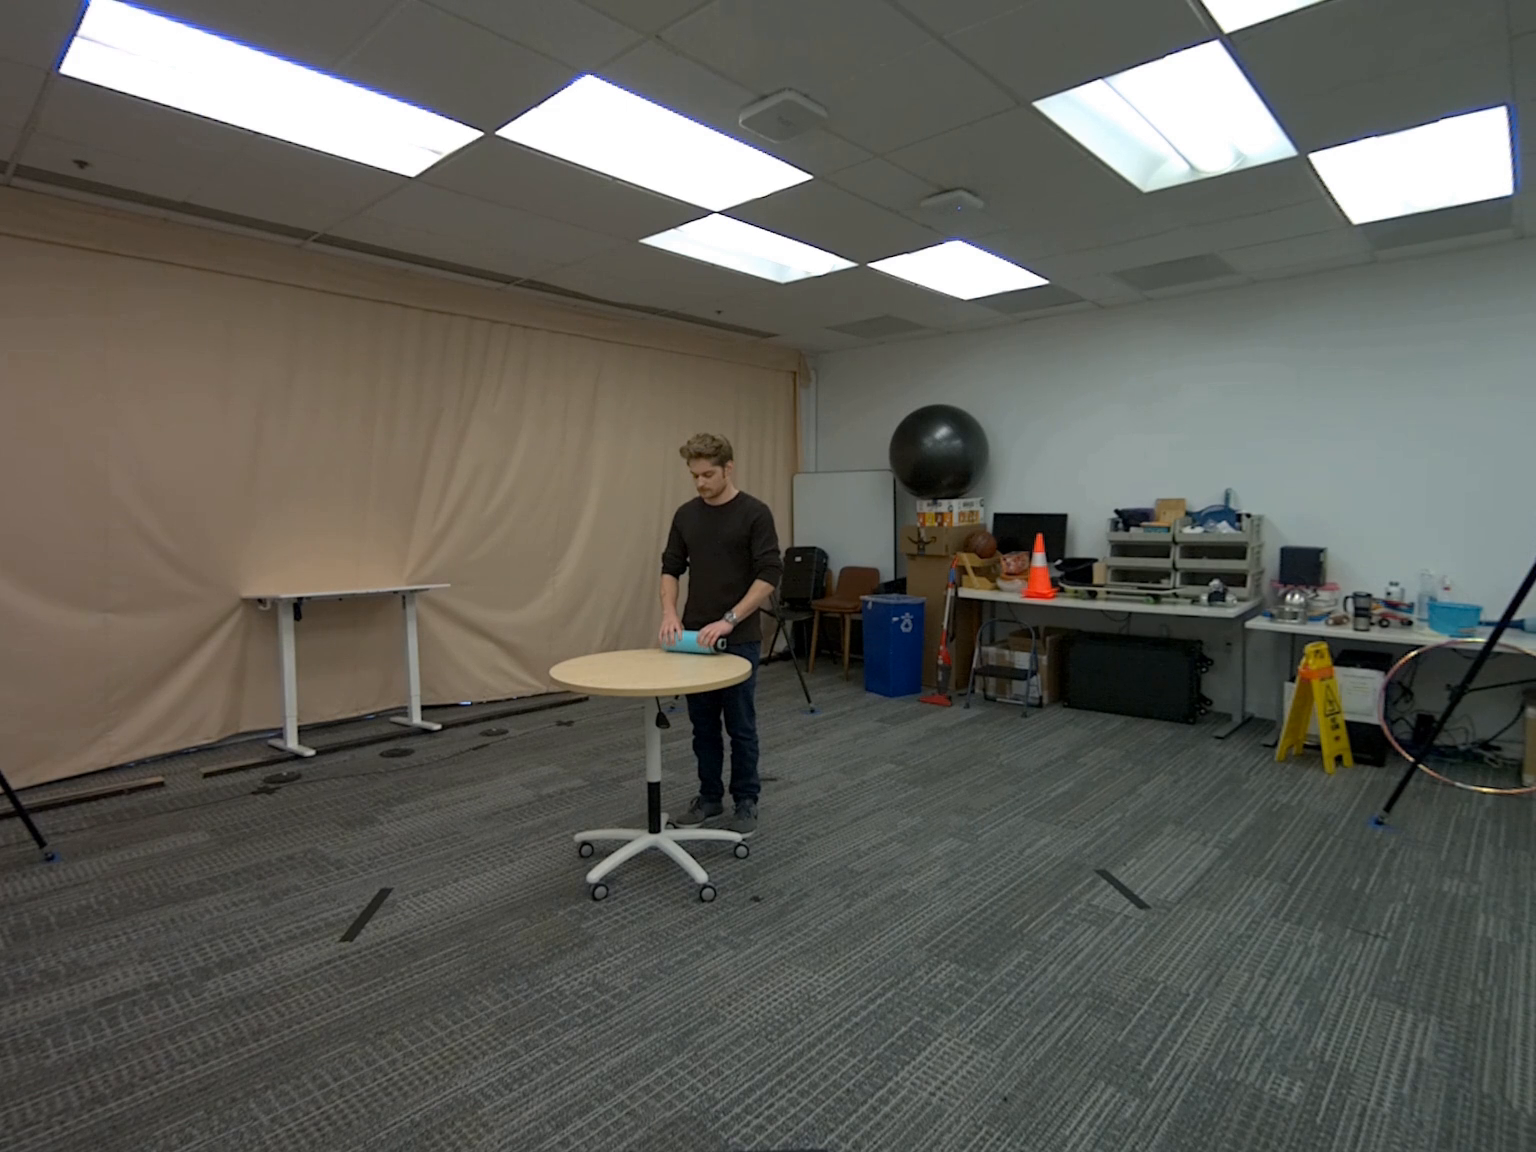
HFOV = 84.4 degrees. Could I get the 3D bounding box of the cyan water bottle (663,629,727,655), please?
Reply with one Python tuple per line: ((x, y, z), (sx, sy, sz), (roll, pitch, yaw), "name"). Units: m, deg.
((-0.298, 0.272, 3.482), (0.291, 0.092, 0.090), (1, 4, 28), "cyan water bottle")
